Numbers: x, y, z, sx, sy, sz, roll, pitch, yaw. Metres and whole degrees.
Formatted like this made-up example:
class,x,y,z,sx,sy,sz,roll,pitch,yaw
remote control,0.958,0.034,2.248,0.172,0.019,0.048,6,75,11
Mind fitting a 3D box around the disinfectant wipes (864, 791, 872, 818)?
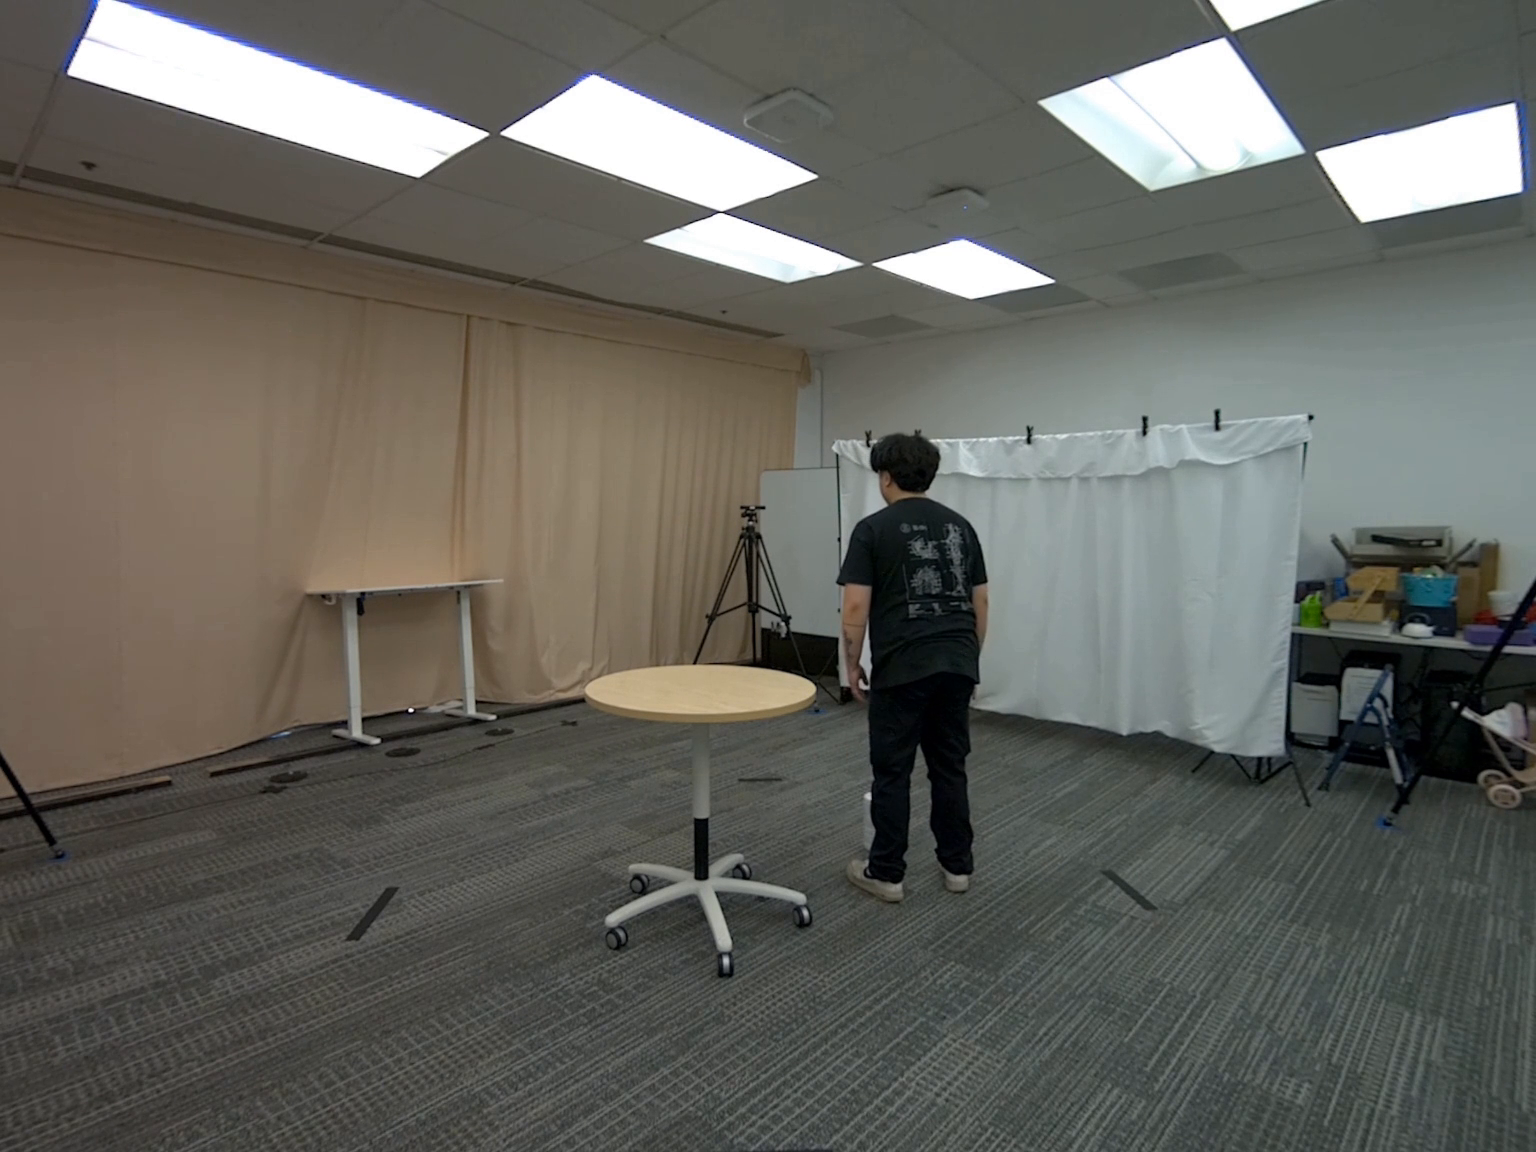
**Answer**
class,x,y,z,sx,sy,sz,roll,pitch,yaw
disinfectant wipes,0.440,0.986,3.421,0.118,0.217,0.118,0,3,-2
